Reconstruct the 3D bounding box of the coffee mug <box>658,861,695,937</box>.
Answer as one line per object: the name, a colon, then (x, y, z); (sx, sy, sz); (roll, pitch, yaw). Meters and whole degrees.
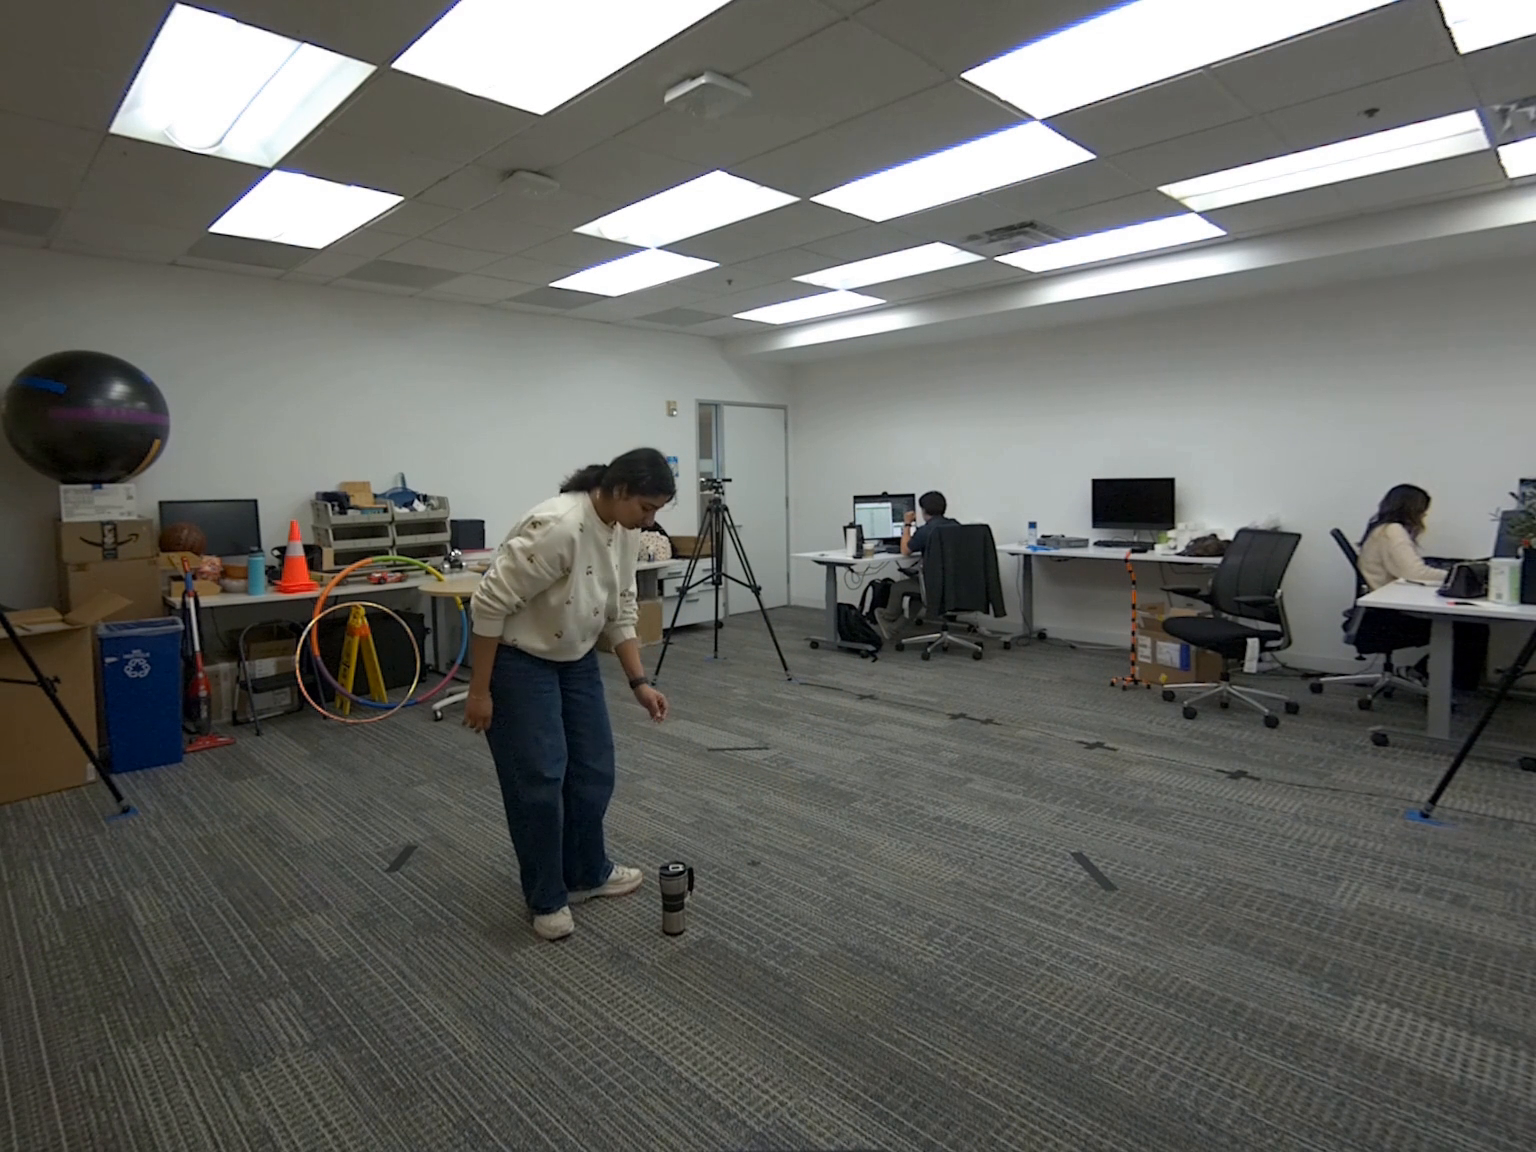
coffee mug: (-0.272, 0.994, 2.652); (0.119, 0.202, 0.090); (-7, 3, -30)
